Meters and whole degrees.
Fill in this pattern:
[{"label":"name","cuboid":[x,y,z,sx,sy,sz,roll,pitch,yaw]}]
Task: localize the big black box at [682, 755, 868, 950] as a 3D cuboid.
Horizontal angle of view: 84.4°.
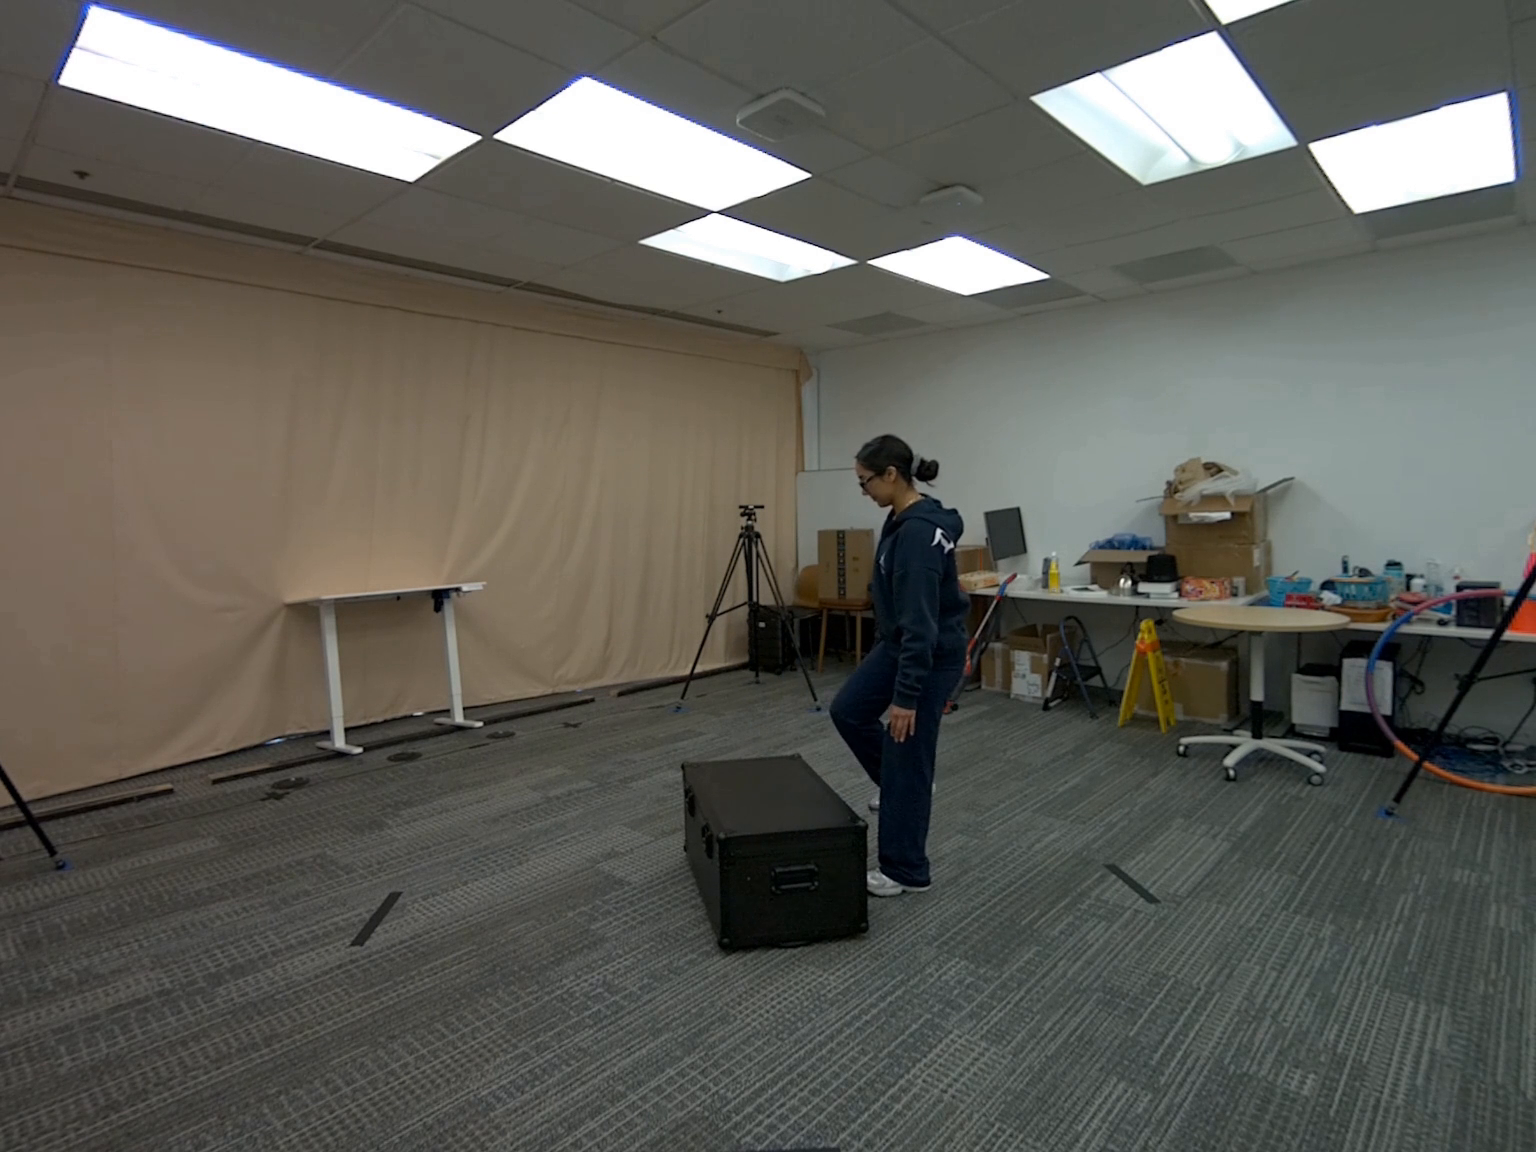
[{"label":"big black box","cuboid":[-0.013,0.946,3.044,0.514,0.395,0.875,-2,5,-13]}]
